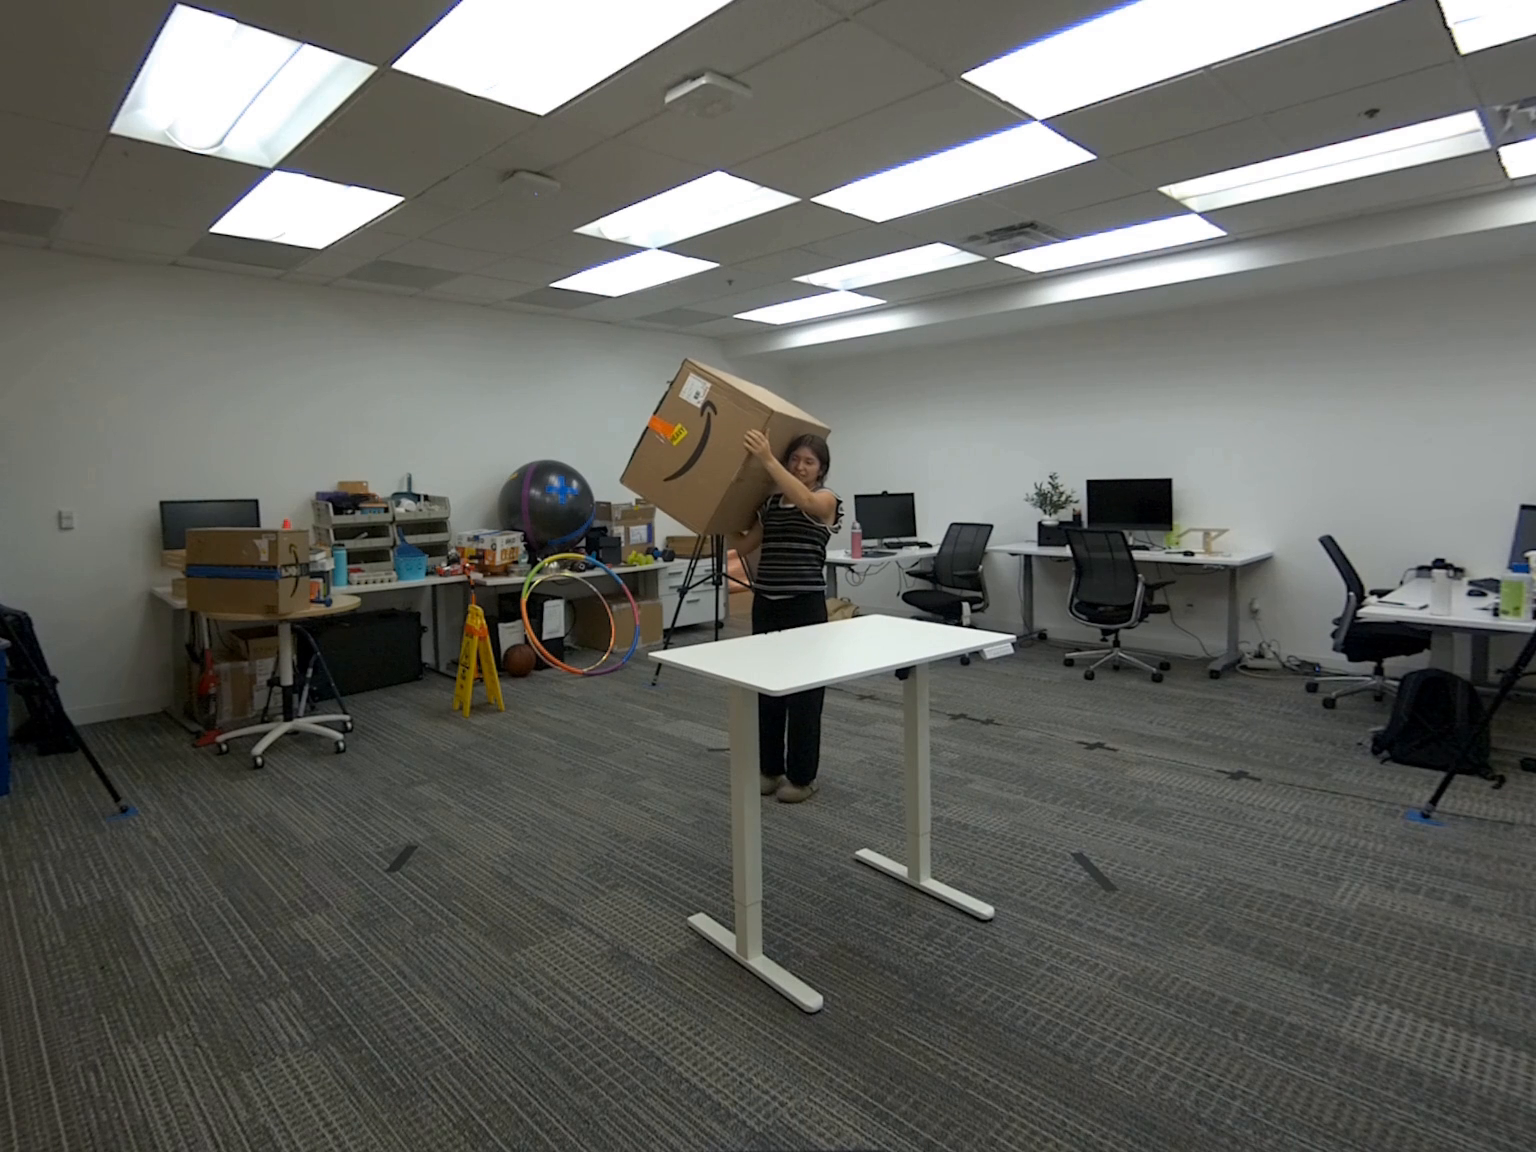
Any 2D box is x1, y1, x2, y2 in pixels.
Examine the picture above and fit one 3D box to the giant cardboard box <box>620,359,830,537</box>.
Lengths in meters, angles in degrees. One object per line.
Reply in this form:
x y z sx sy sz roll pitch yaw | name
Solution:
-0.150 -0.552 3.831 0.434 0.575 1.011 33 13 12 | giant cardboard box
